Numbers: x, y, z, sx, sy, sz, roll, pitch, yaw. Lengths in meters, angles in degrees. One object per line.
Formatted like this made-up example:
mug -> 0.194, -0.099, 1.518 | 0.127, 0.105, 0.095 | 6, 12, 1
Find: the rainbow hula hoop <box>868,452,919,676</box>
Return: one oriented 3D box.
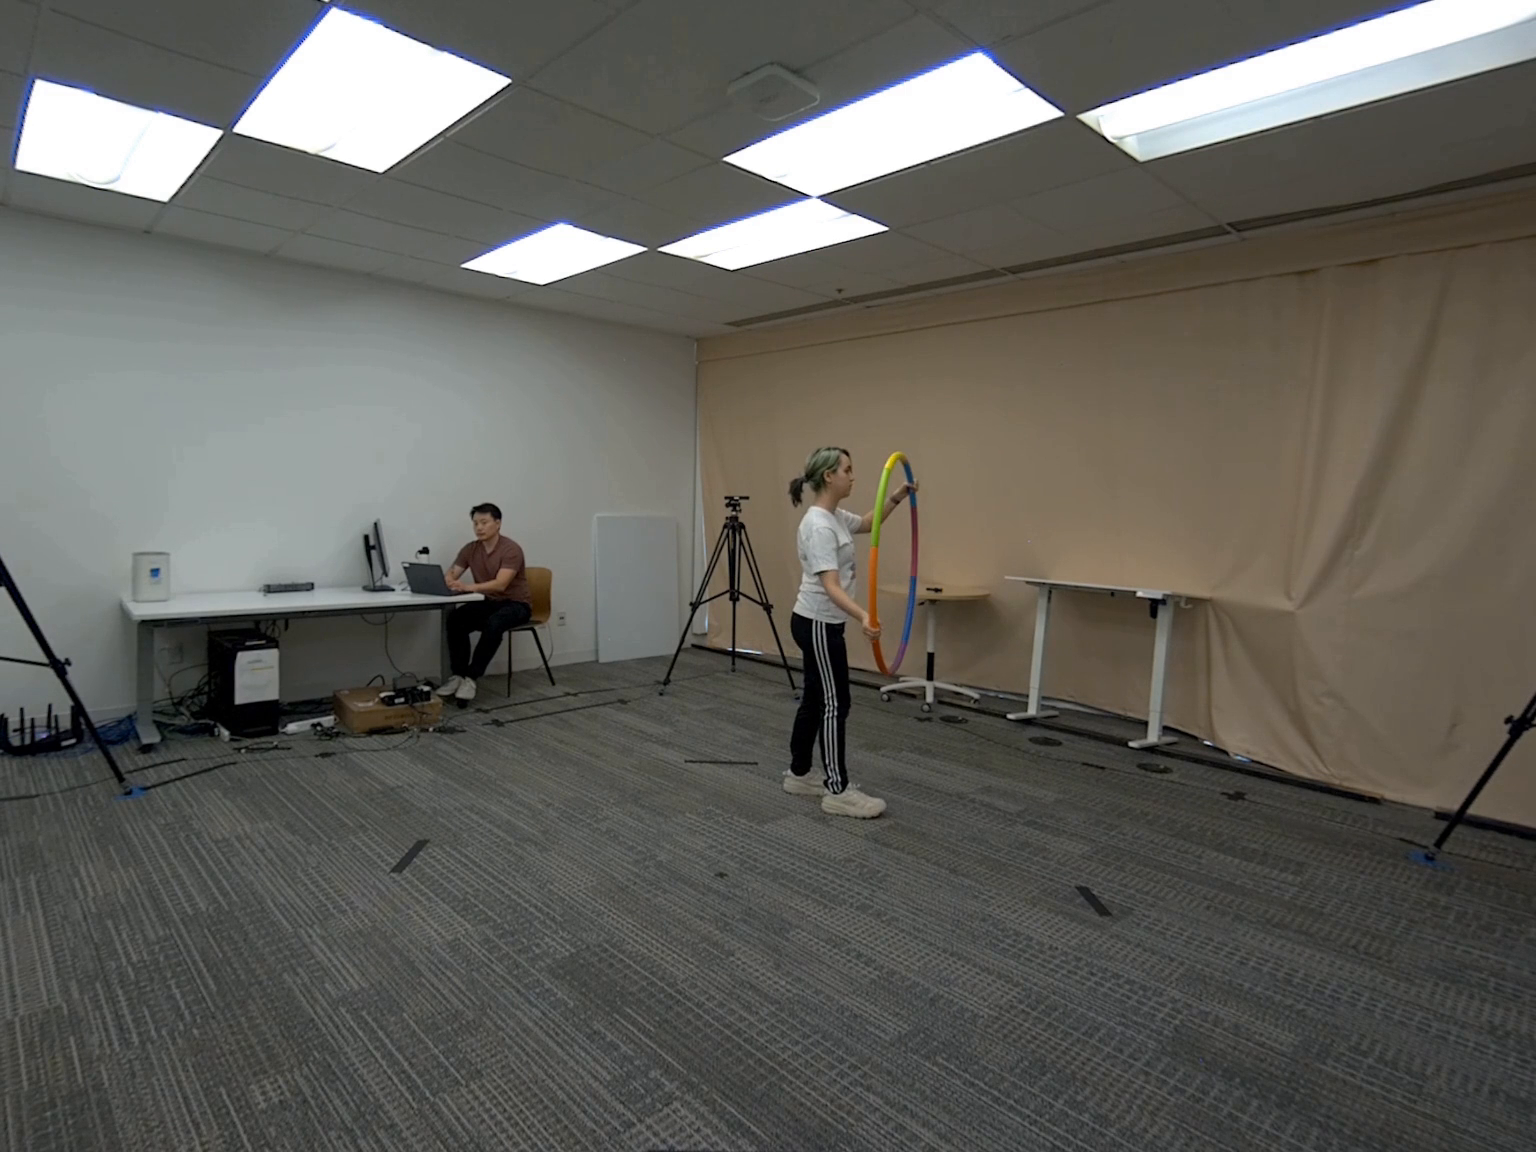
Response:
rainbow hula hoop -> 0.561, -0.054, 3.743 | 0.036, 0.976, 0.965 | 2, 4, 20
